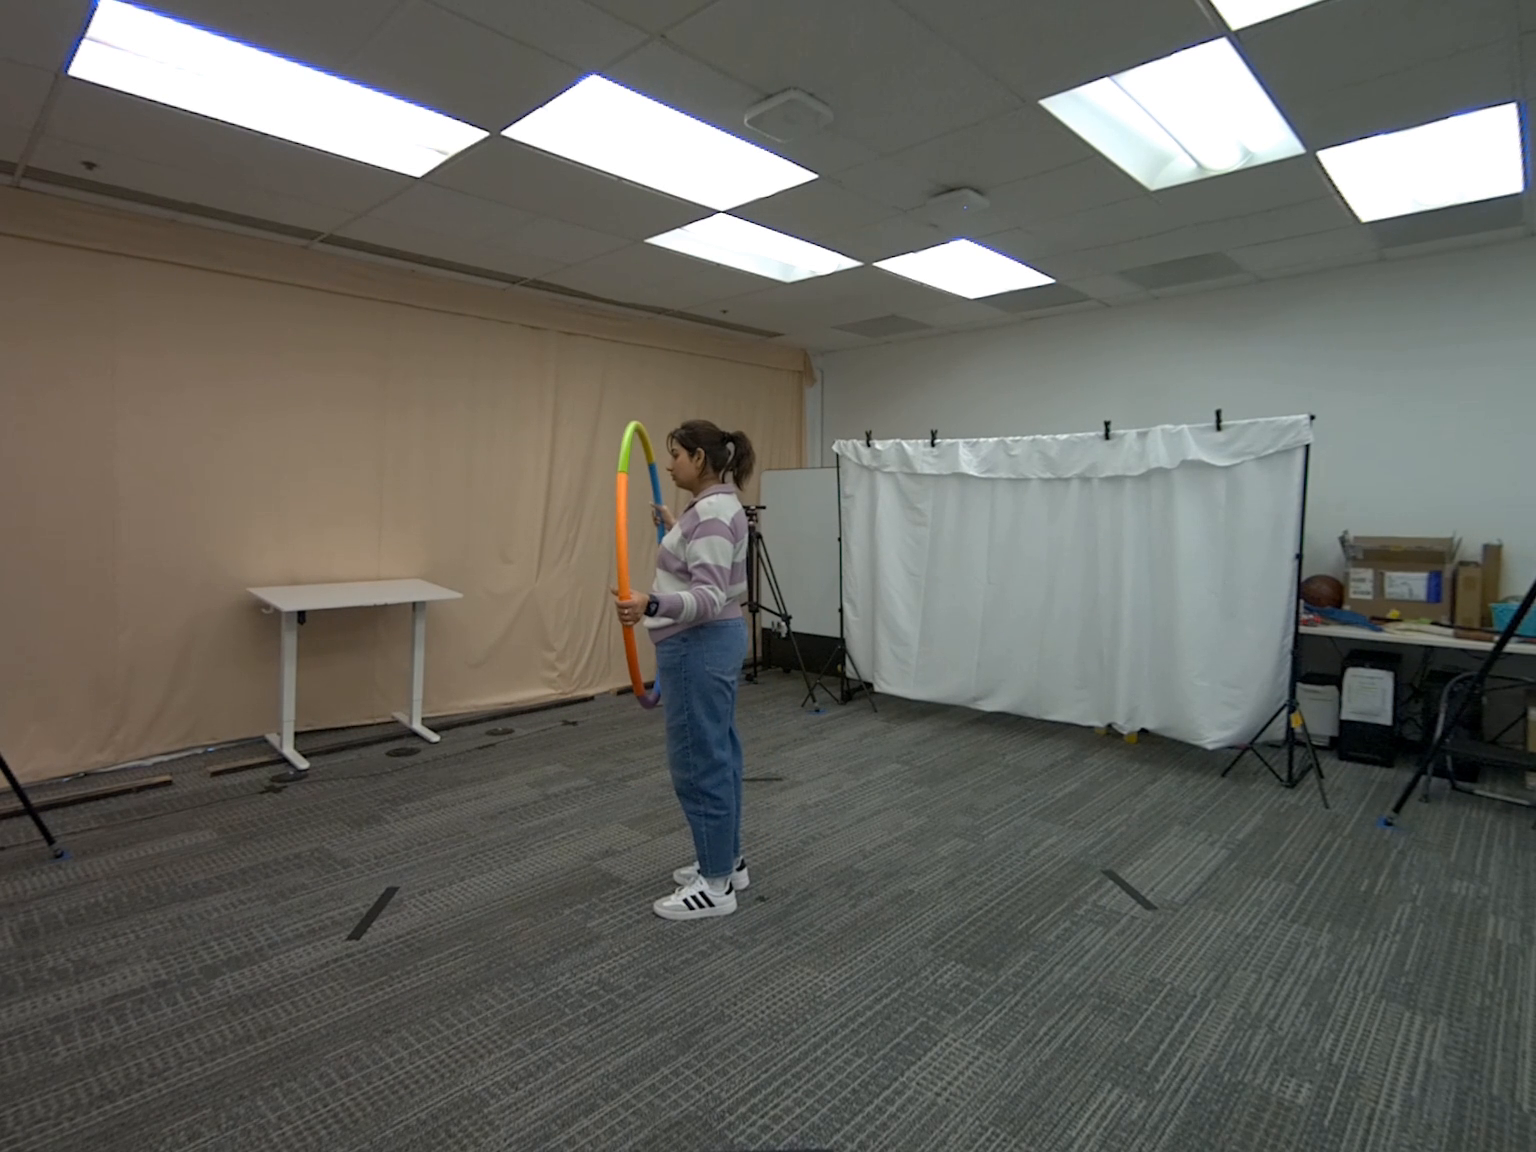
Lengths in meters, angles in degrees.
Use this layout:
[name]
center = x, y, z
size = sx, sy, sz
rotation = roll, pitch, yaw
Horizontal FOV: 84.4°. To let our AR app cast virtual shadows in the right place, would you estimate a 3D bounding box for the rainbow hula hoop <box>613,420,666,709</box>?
[rainbow hula hoop]
center = -0.419, -0.039, 2.917
size = 0.035, 0.976, 0.977
rotation = -1, 4, 1
